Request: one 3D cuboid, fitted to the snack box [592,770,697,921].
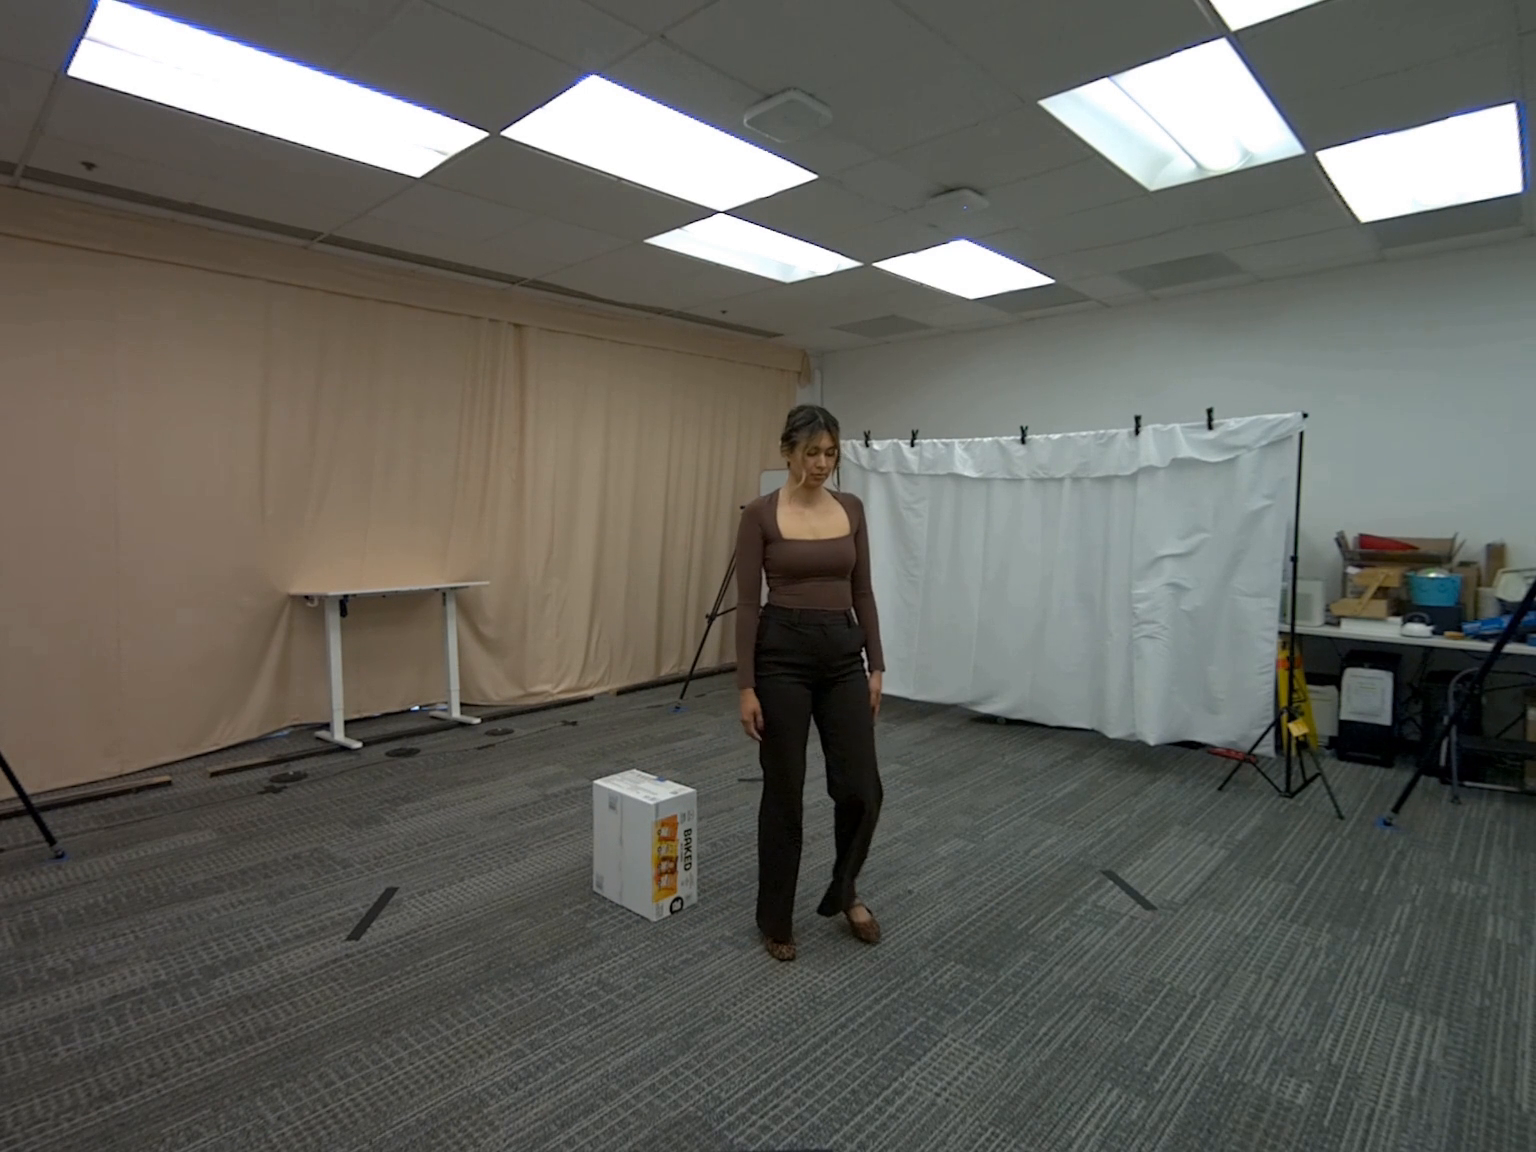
[{"bbox_3d":[-0.441,0.944,2.992,0.352,0.404,0.199,3,4,43],"label":"snack box"}]
